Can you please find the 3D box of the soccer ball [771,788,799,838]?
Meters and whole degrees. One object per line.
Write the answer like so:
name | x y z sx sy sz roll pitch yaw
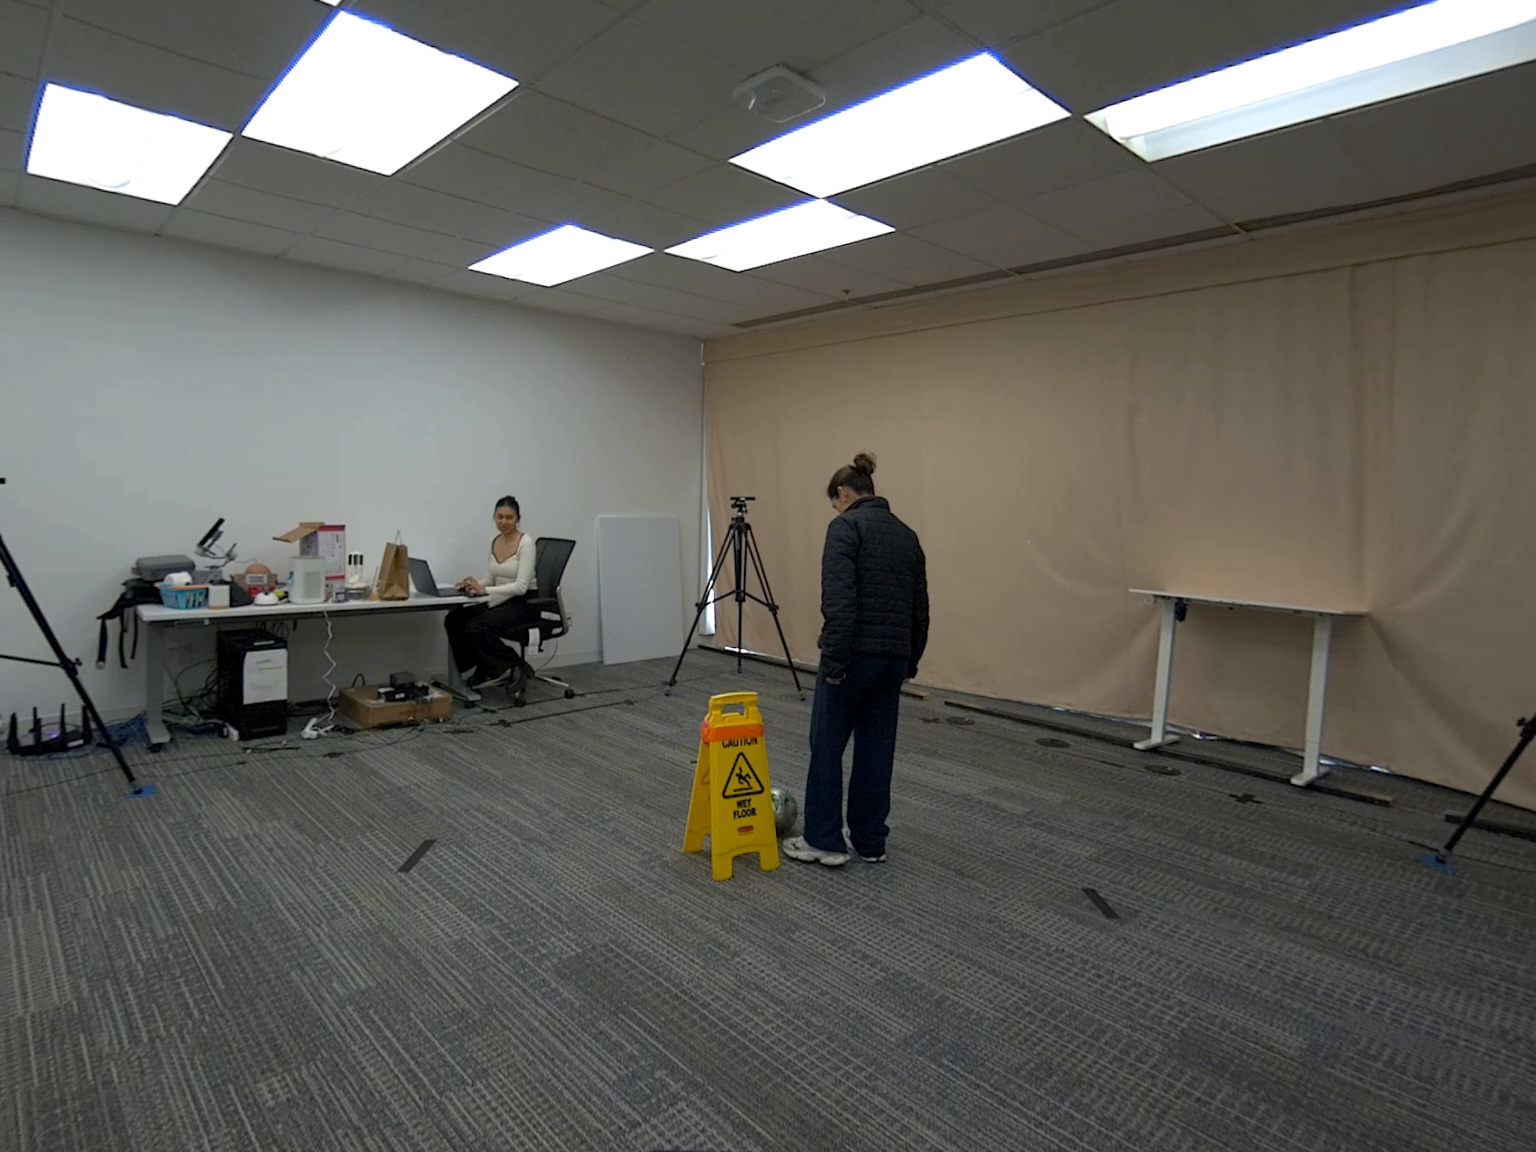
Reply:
soccer ball | 0.033 0.986 3.516 0.187 0.187 0.188 1 4 -1
